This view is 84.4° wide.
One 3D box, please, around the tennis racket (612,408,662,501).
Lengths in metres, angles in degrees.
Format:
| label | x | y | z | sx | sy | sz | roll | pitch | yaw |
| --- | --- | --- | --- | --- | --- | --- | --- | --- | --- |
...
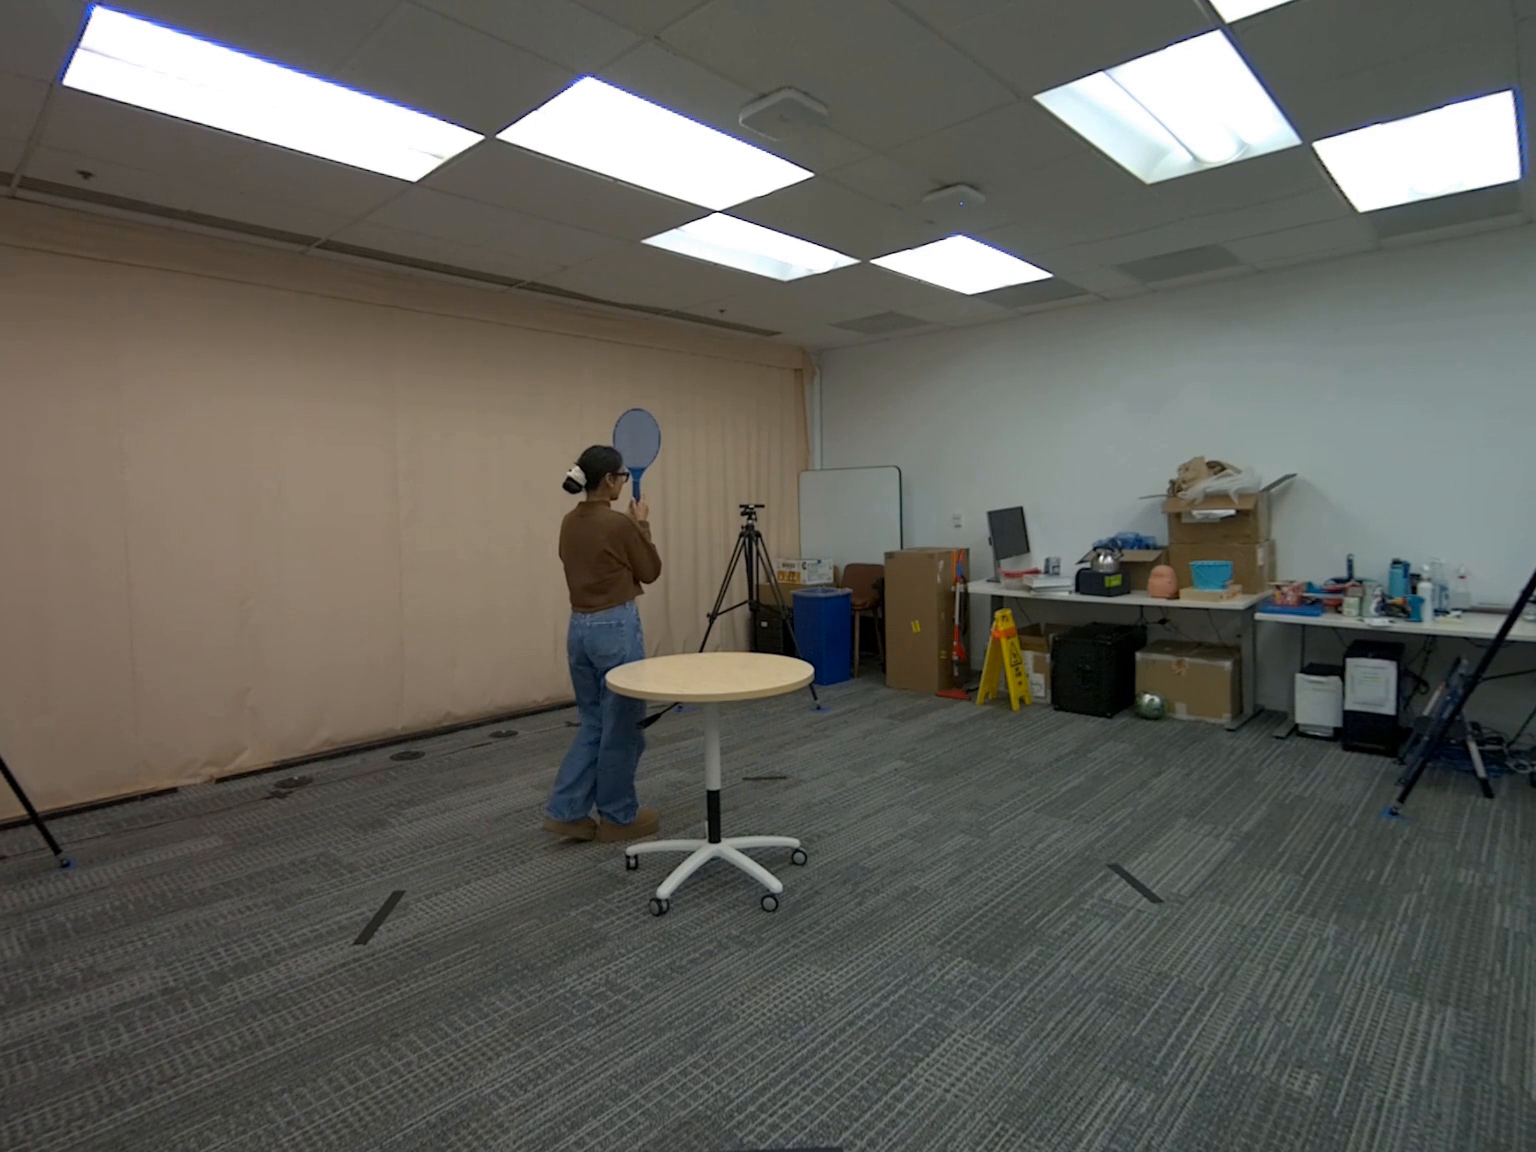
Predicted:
| label | x | y | z | sx | sy | sz | roll | pitch | yaw |
| --- | --- | --- | --- | --- | --- | --- | --- | --- | --- |
| tennis racket | -0.580 | -0.509 | 3.638 | 0.215 | 0.433 | 0.031 | 3 | -1 | 7 |
